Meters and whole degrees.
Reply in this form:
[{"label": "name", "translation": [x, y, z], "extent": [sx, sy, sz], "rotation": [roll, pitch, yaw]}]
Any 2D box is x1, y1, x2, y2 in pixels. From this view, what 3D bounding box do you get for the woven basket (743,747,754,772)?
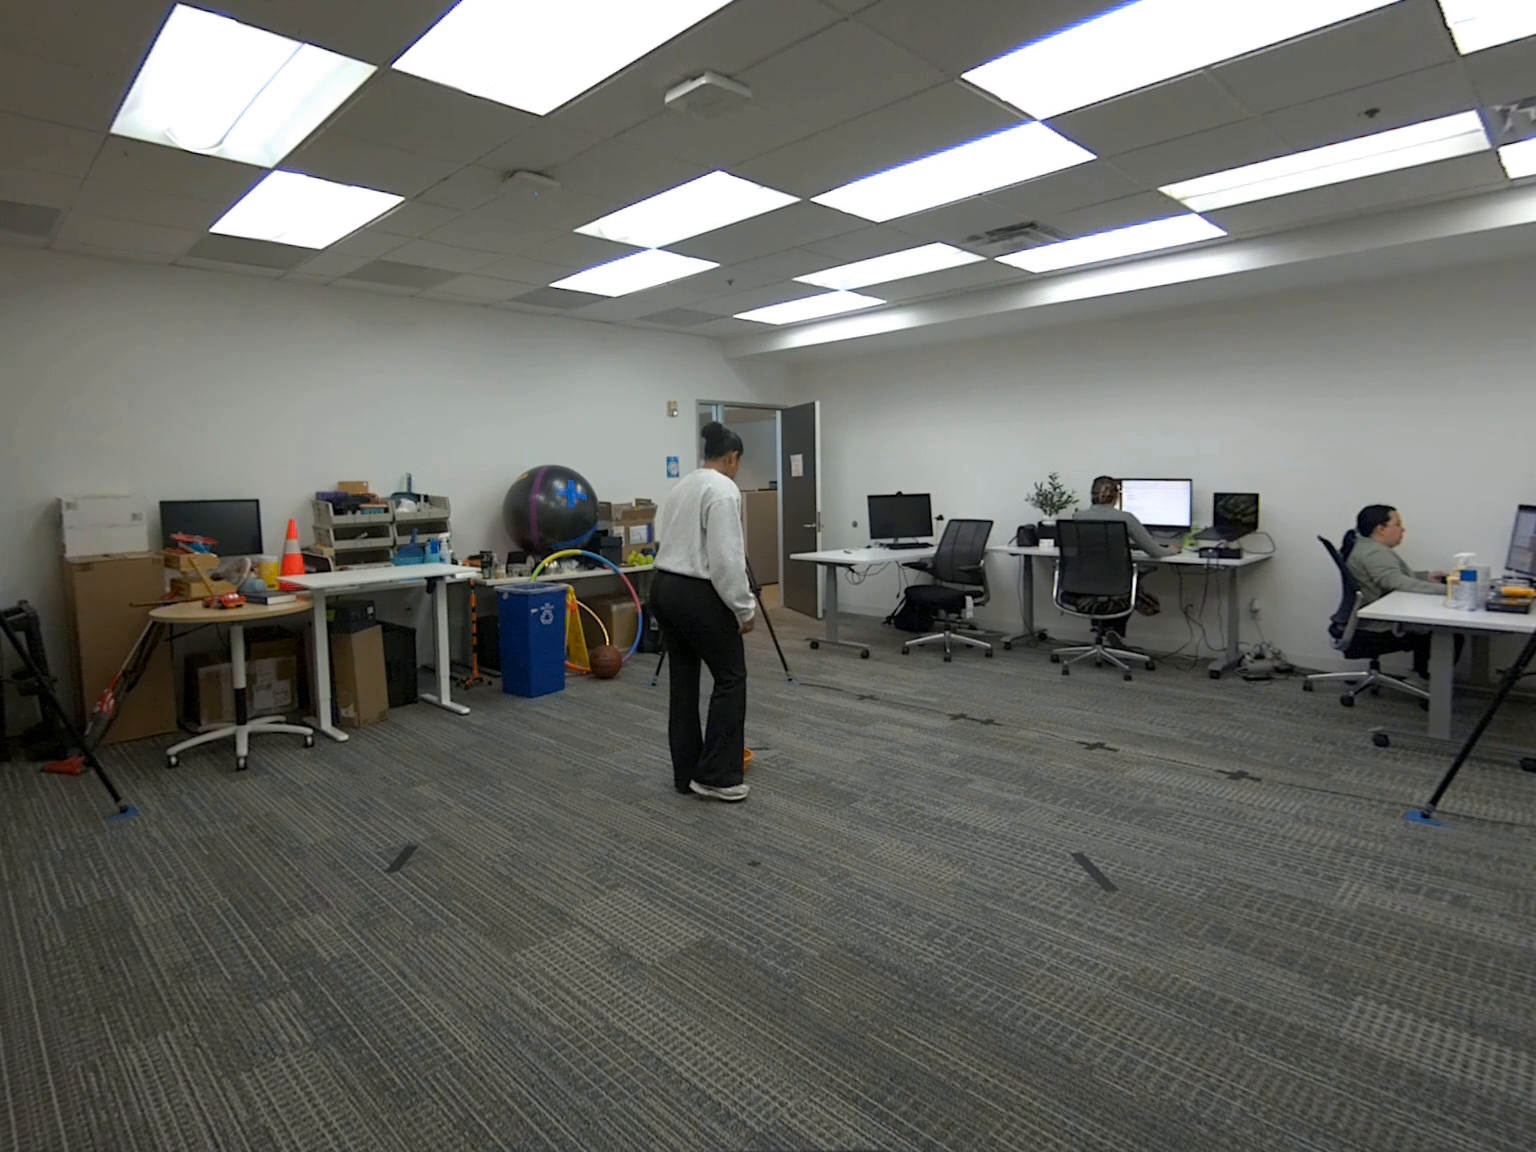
[{"label": "woven basket", "translation": [-0.235, 0.894, 4.173], "extent": [0.360, 0.073, 0.246], "rotation": [4, 7, 32]}]
